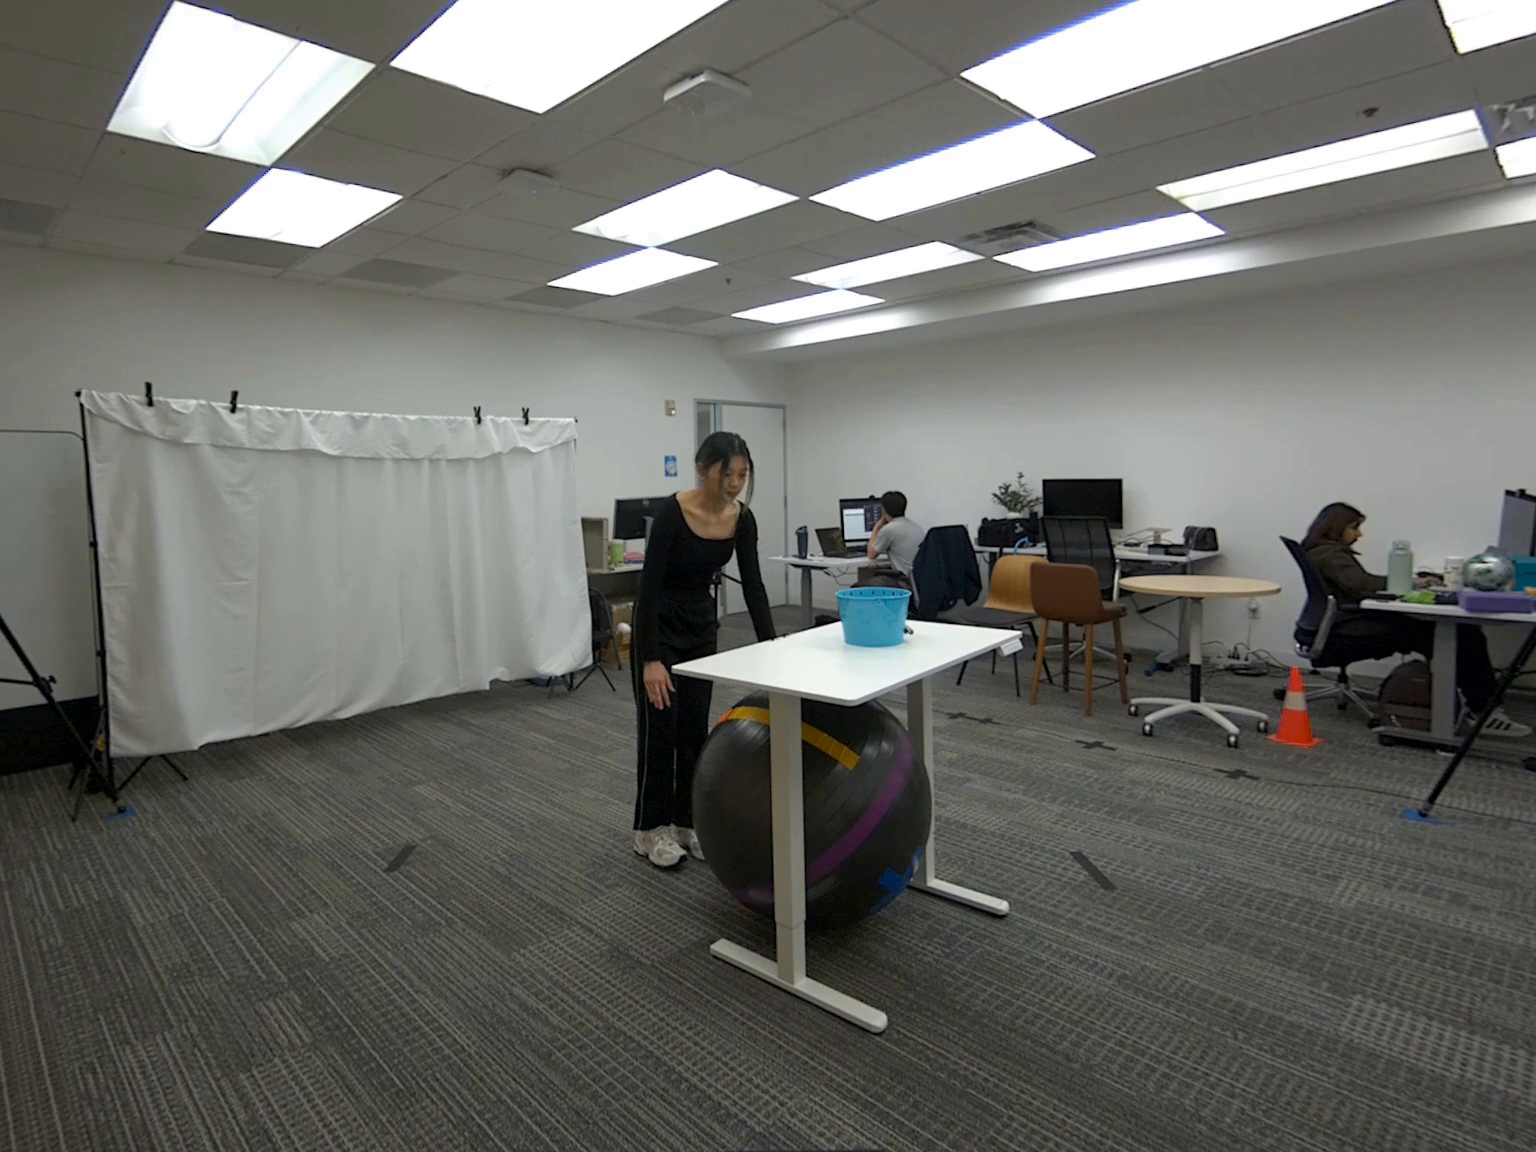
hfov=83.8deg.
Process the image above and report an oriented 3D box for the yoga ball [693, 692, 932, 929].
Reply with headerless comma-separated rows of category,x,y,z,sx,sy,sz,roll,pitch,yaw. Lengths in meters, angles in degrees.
yoga ball,0.128,0.718,2.712,0.757,0.755,0.762,-1,5,-2
